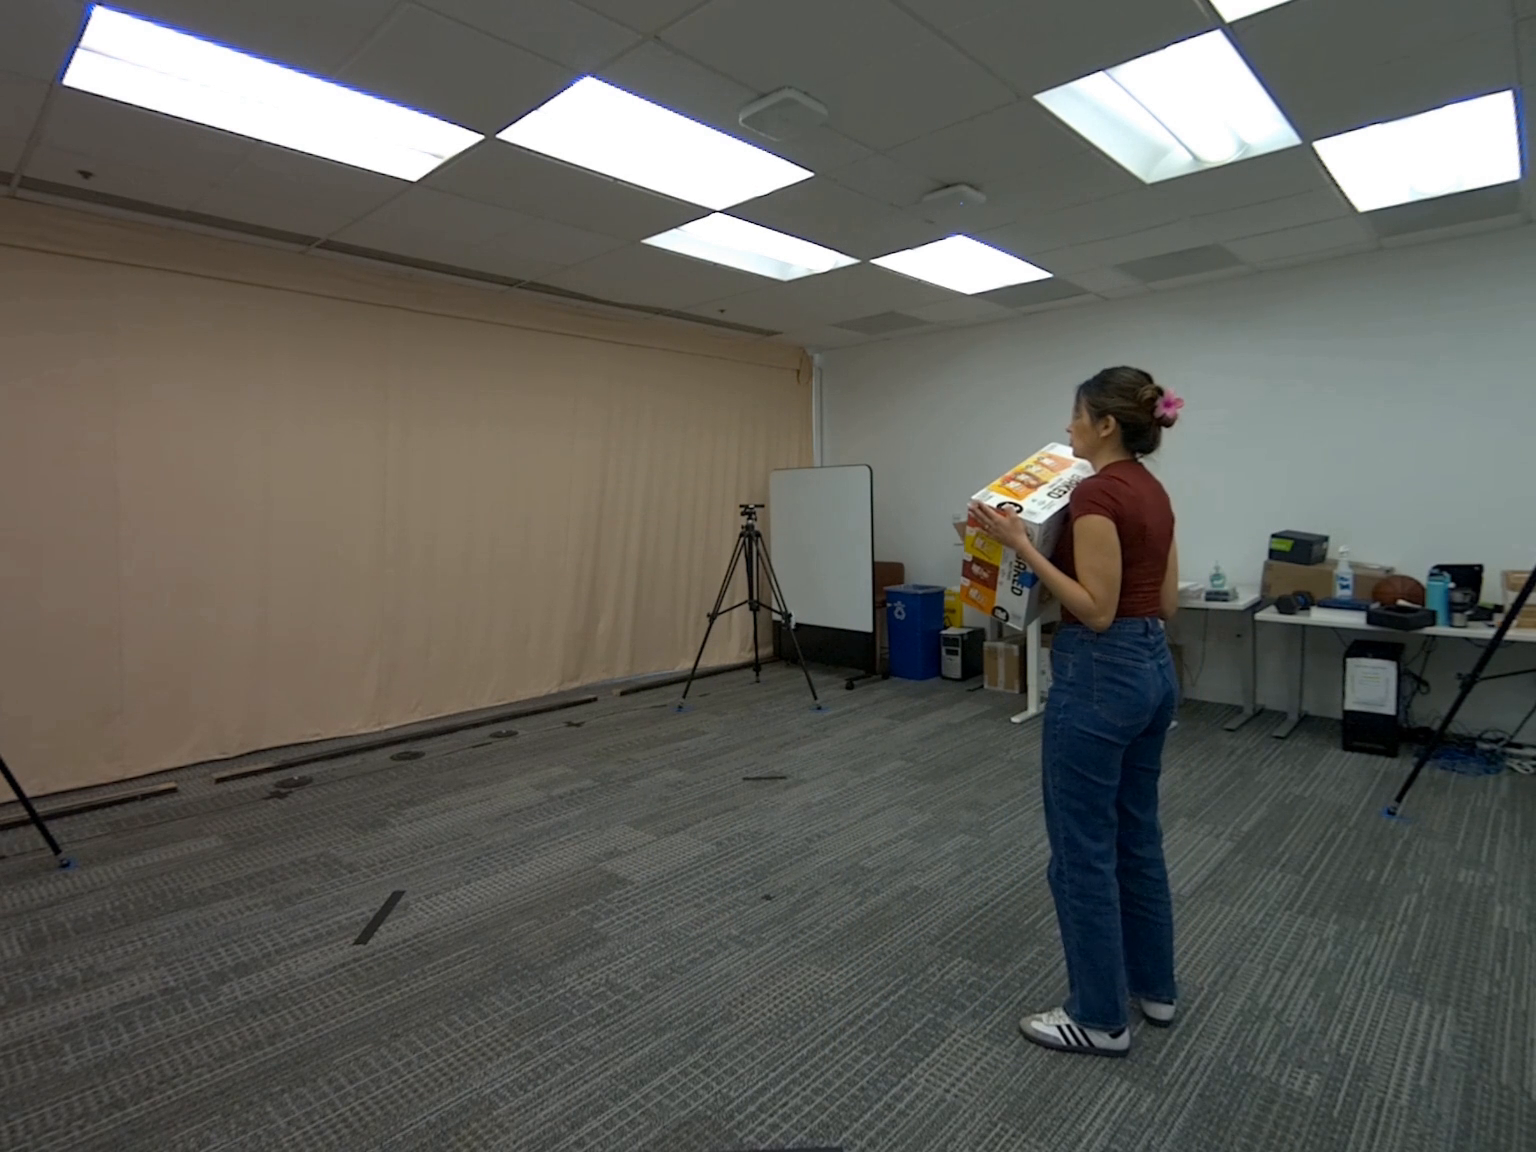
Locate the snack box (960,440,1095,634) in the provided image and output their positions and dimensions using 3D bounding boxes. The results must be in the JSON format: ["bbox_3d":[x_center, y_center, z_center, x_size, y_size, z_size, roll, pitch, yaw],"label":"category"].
[{"bbox_3d":[0.744,-0.117,2.316,0.399,0.333,0.213,-32,43,-32],"label":"snack box"}]
